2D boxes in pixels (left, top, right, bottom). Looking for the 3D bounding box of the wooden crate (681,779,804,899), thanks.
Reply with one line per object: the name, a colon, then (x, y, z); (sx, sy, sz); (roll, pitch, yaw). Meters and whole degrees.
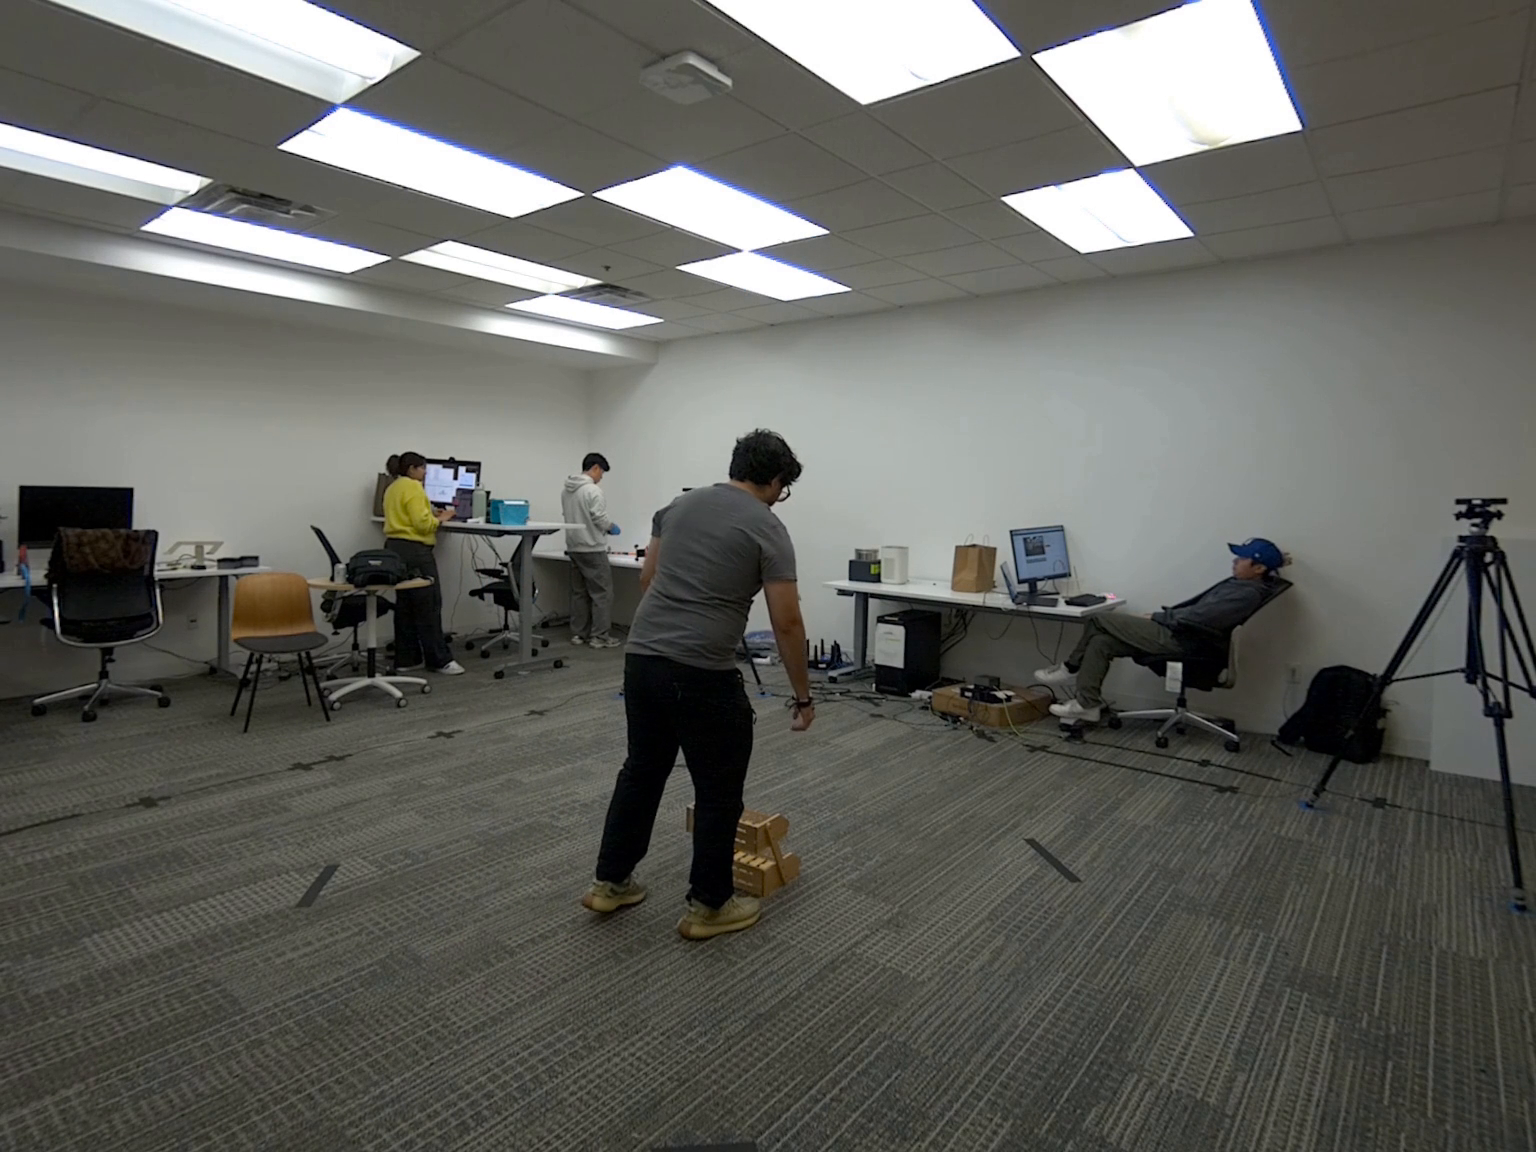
wooden crate: (-0.094, 0.936, 3.061); (0.335, 0.272, 0.294); (4, 5, 34)
